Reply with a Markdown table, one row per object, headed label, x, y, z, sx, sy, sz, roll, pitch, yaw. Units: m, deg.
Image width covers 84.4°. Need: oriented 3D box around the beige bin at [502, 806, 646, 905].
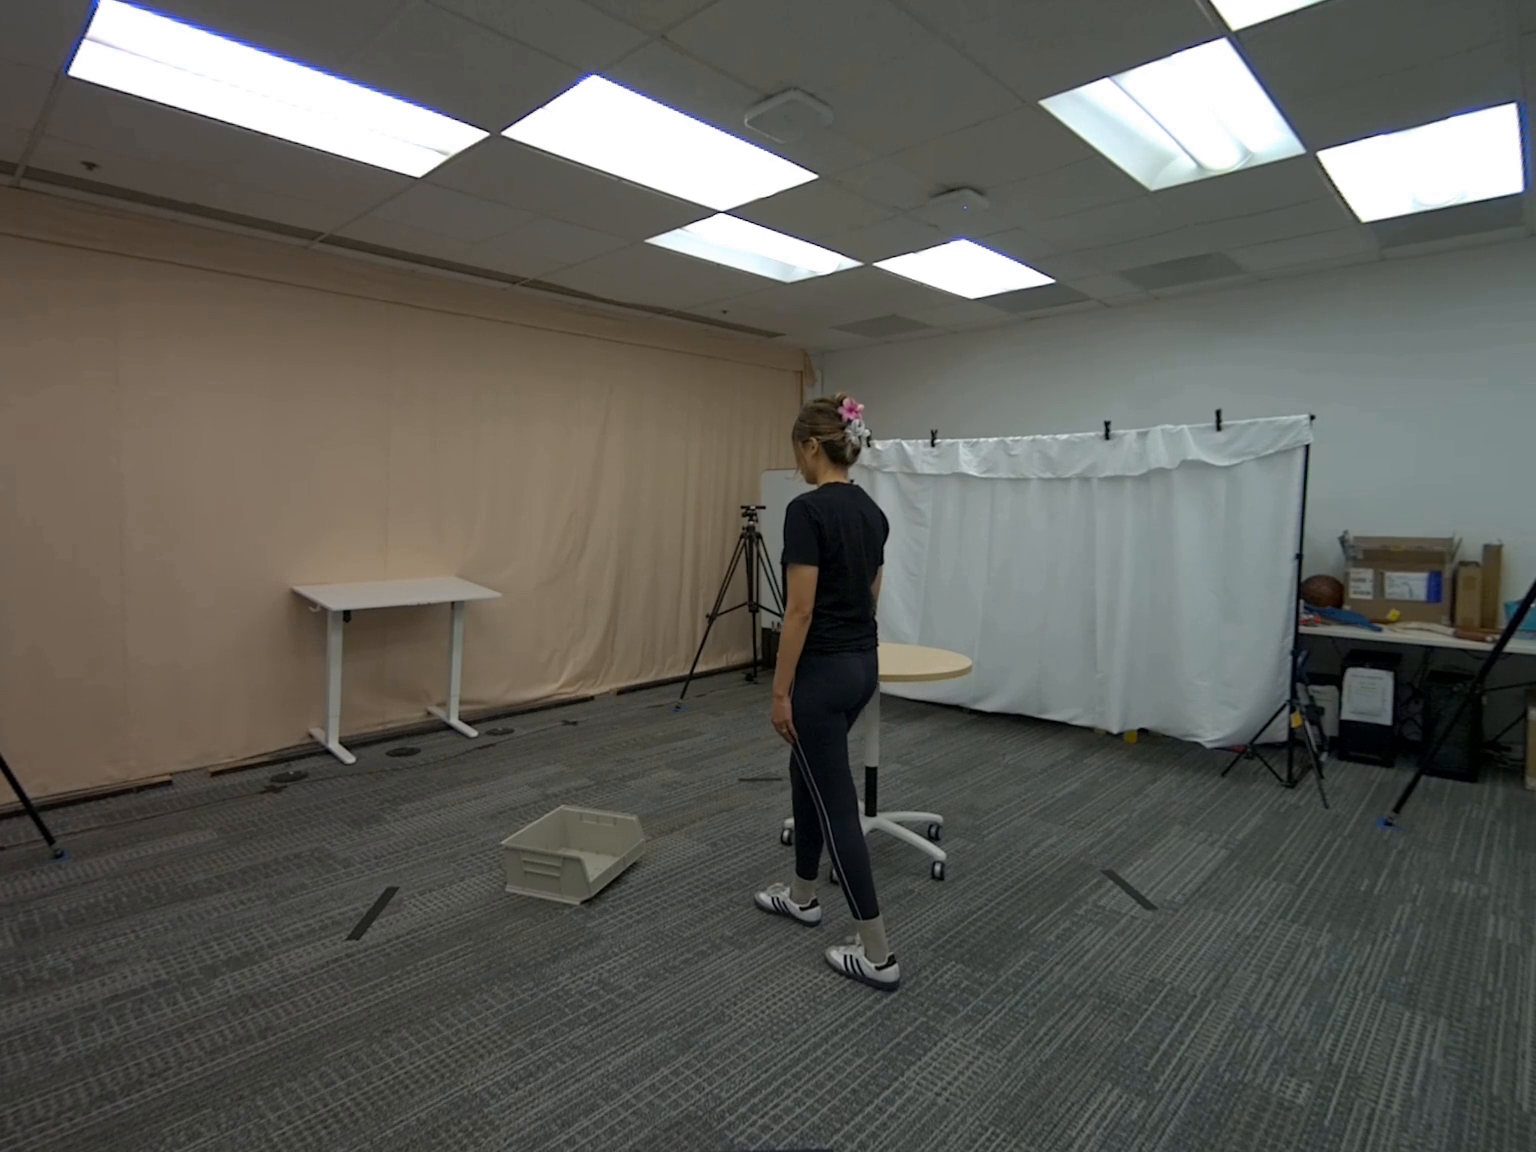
| label | x | y | z | sx | sy | sz | roll | pitch | yaw |
| --- | --- | --- | --- | --- | --- | --- | --- | --- | --- |
| beige bin | -0.730 | 1.048 | 3.178 | 0.385 | 0.188 | 0.414 | 0 | 5 | 20 |
